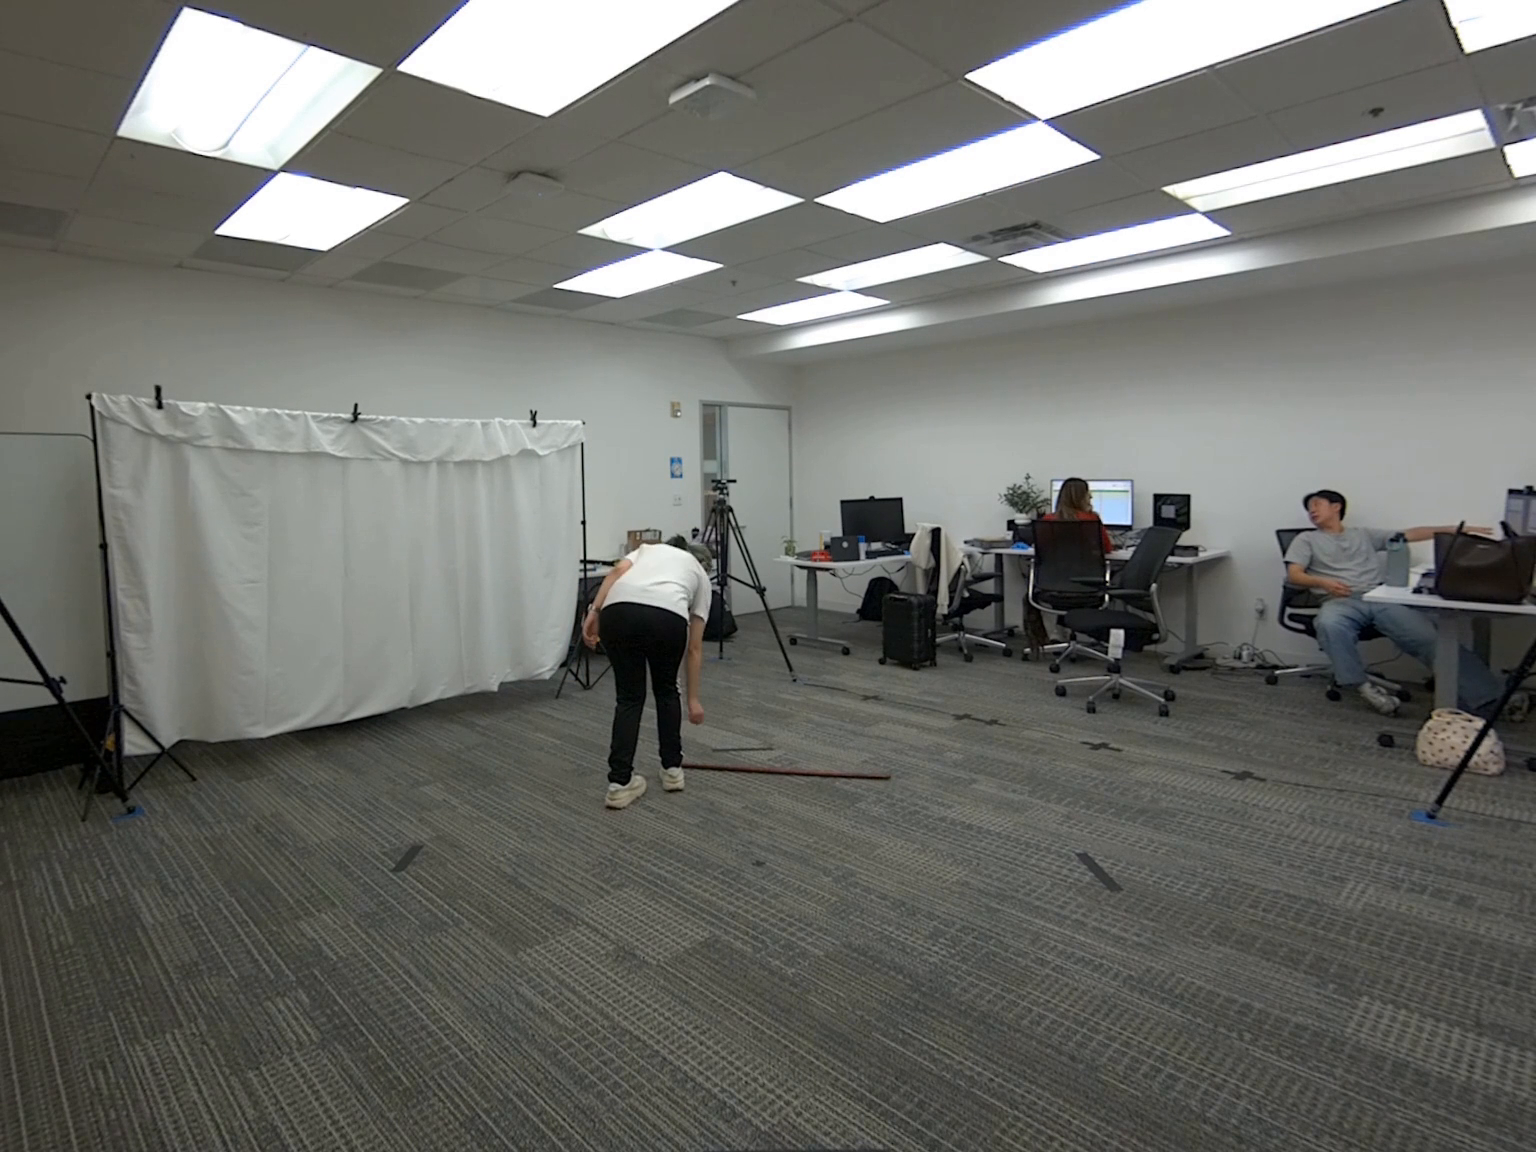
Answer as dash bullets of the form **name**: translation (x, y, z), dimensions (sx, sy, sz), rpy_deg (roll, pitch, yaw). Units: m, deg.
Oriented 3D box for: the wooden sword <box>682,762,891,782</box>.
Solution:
- **wooden sword**: translation (0.039, 0.909, 4.041), dimensions (1.038, 0.050, 0.024), rpy_deg (1, 23, 14)
